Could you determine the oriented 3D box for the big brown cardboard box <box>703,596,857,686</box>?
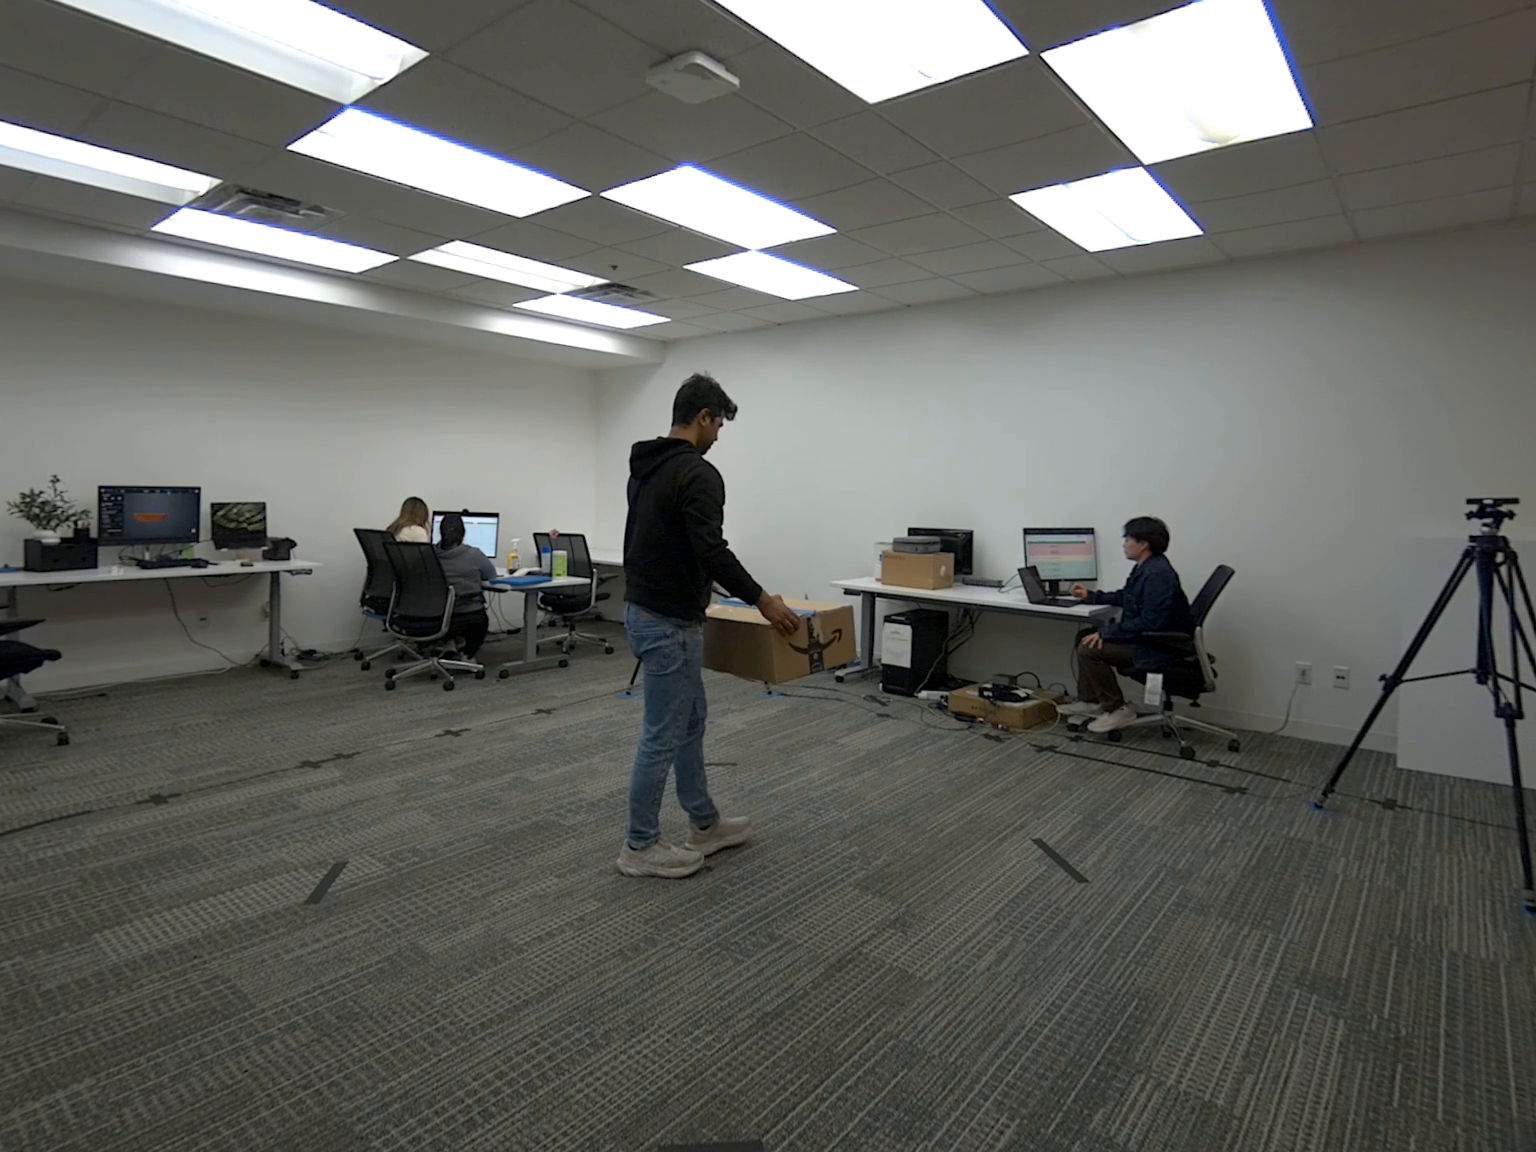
[{"bbox_3d":[-0.022,0.230,3.334,0.407,0.232,0.608,-10,9,-38],"label":"big brown cardboard box"}]
